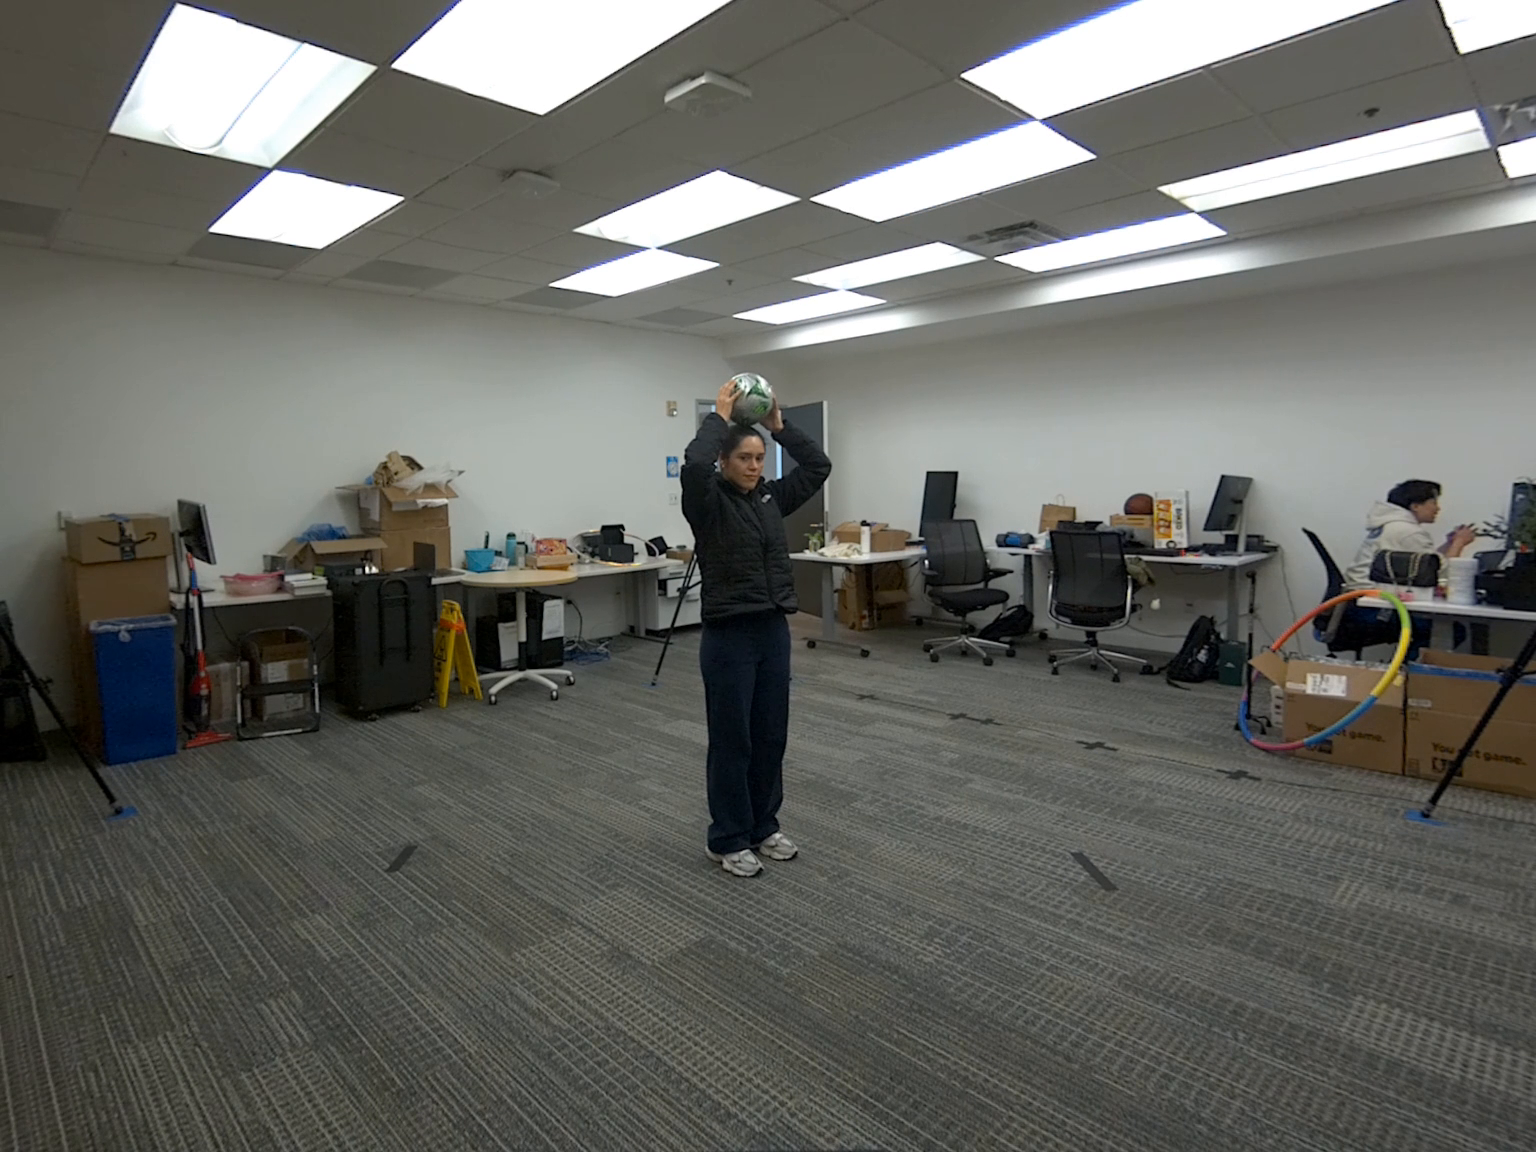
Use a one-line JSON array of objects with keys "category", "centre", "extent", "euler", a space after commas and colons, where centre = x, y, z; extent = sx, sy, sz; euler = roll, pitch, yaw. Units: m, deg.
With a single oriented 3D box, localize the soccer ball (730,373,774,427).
[{"category": "soccer ball", "centre": [-0.072, -0.636, 3.079], "extent": [0.187, 0.187, 0.188], "euler": [-1, 5, -2]}]
